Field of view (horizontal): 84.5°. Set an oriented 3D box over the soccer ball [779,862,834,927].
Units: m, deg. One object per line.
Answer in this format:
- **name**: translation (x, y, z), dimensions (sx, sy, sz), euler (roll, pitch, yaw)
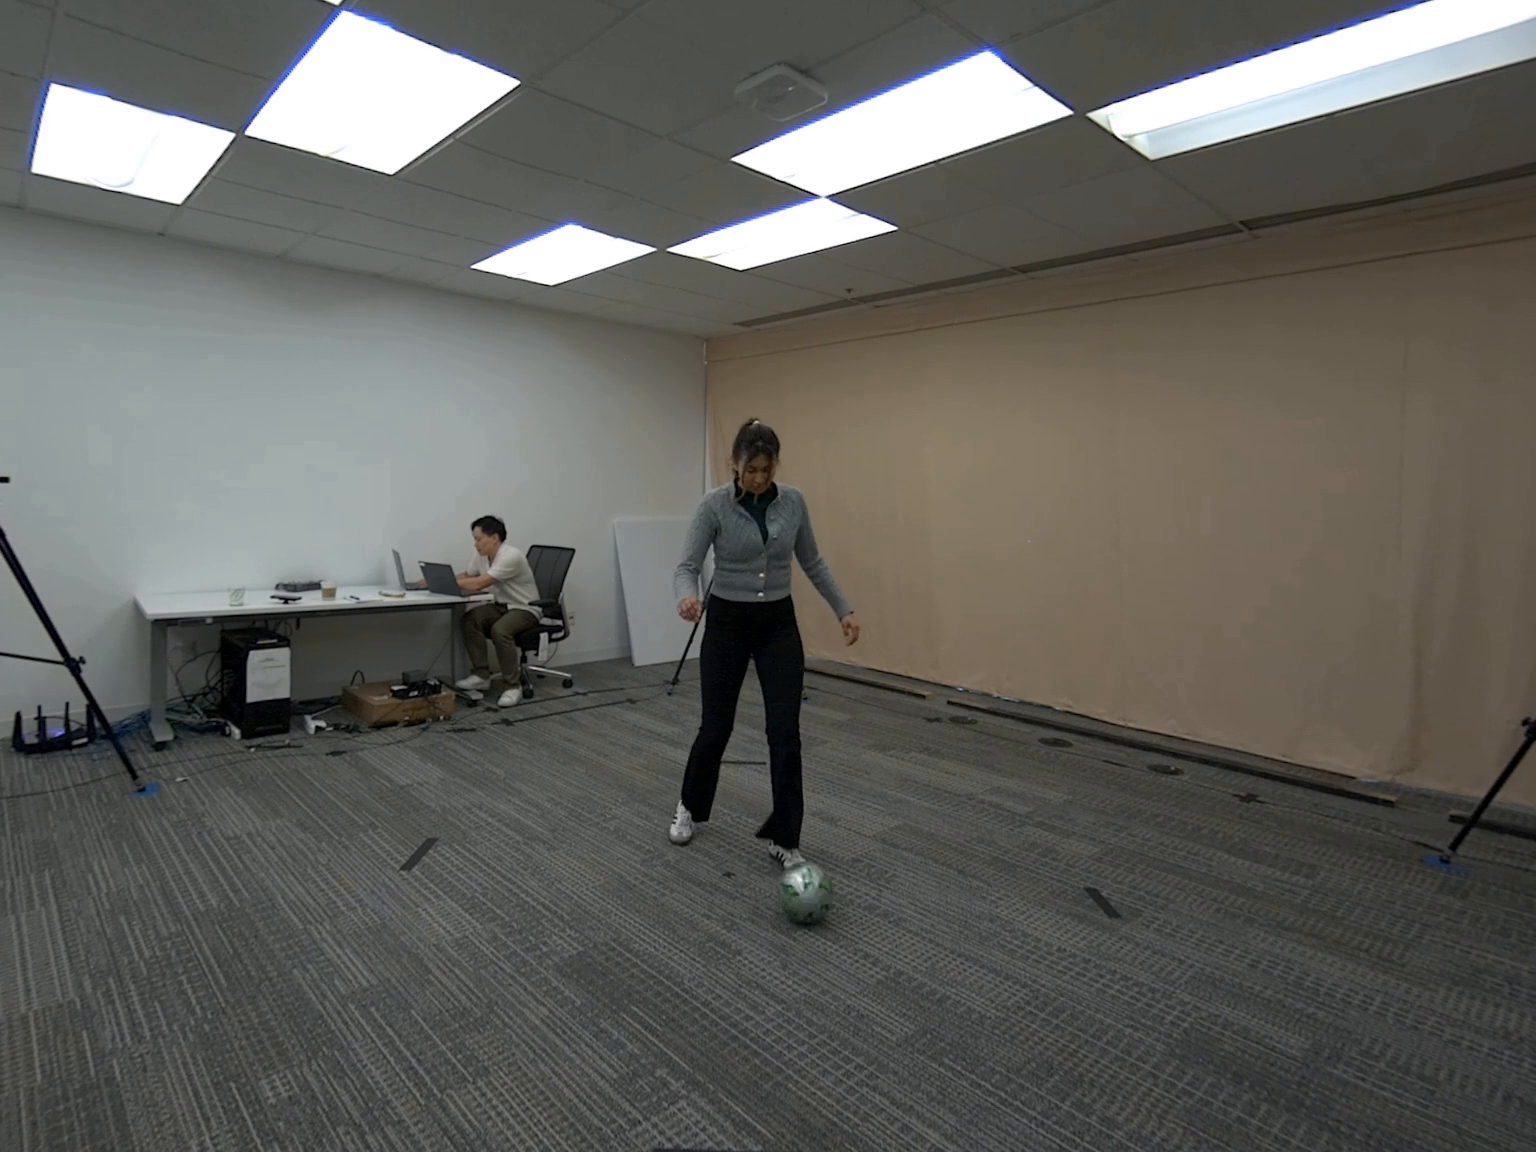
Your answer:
- **soccer ball**: translation (0.094, 1.037, 2.780), dimensions (0.187, 0.187, 0.188), euler (1, 4, -1)
